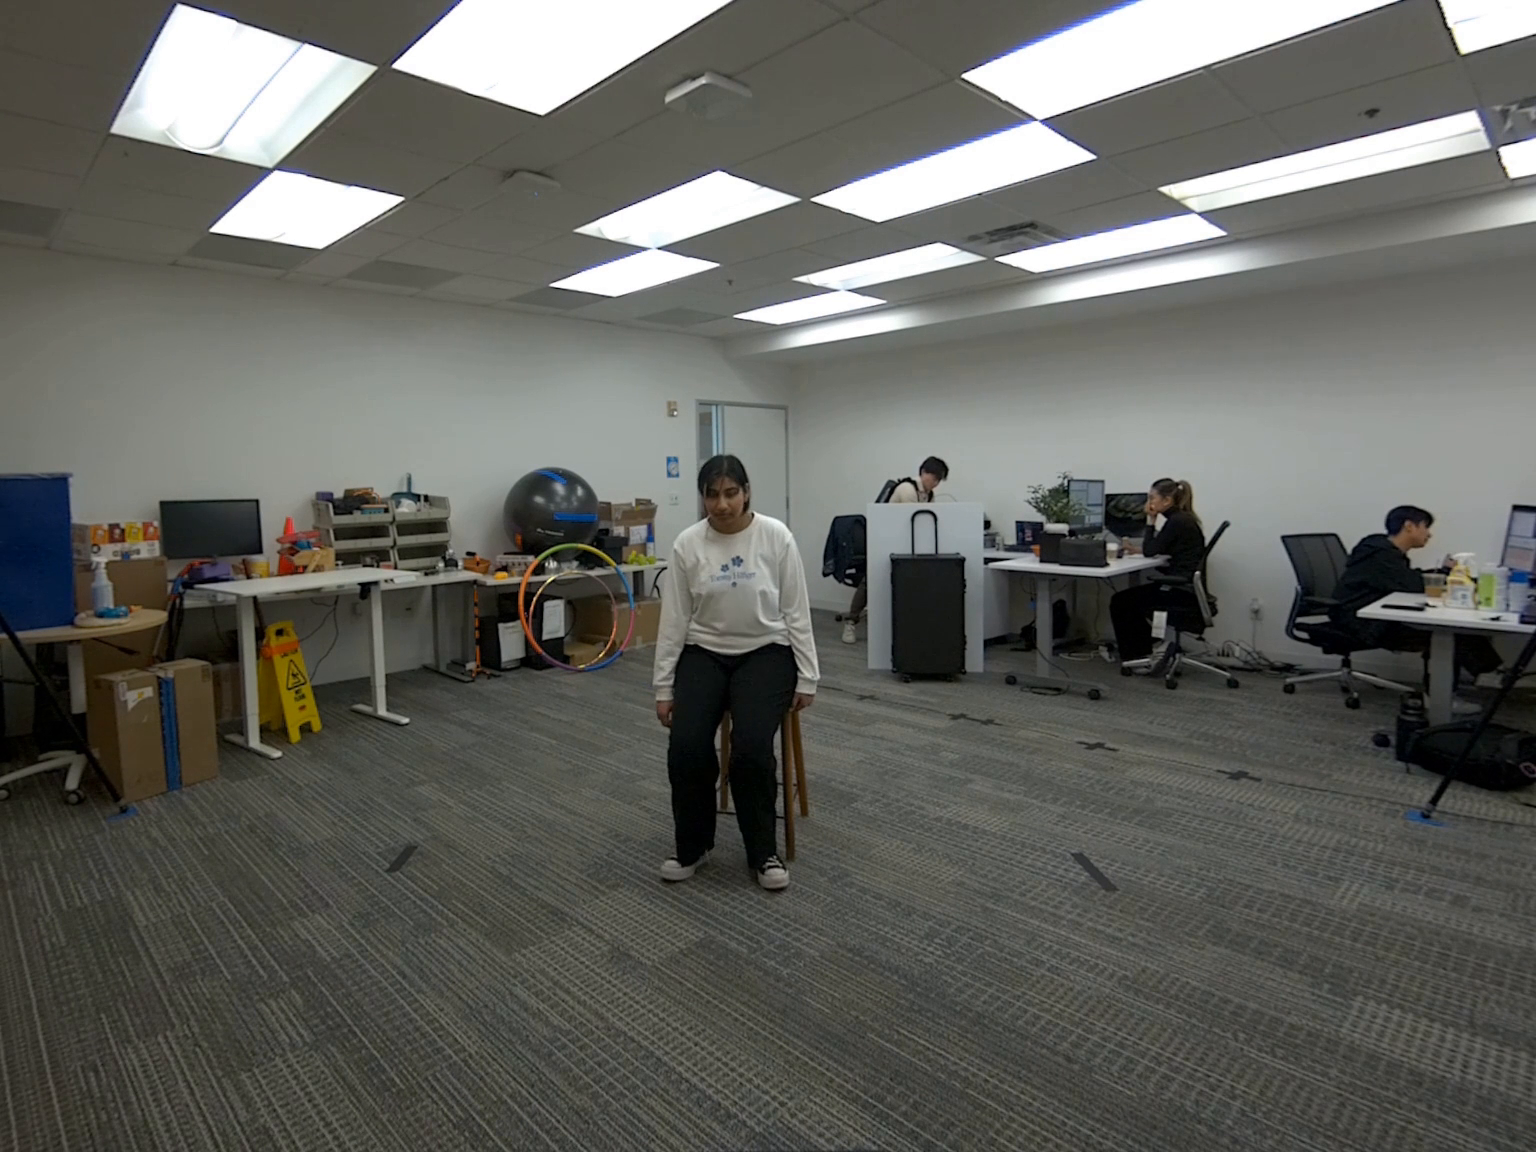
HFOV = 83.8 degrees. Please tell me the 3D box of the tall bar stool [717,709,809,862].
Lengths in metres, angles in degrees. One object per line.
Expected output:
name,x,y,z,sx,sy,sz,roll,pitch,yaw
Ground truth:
tall bar stool,-0.055,0.582,3.368,0.463,0.888,0.462,0,2,13
